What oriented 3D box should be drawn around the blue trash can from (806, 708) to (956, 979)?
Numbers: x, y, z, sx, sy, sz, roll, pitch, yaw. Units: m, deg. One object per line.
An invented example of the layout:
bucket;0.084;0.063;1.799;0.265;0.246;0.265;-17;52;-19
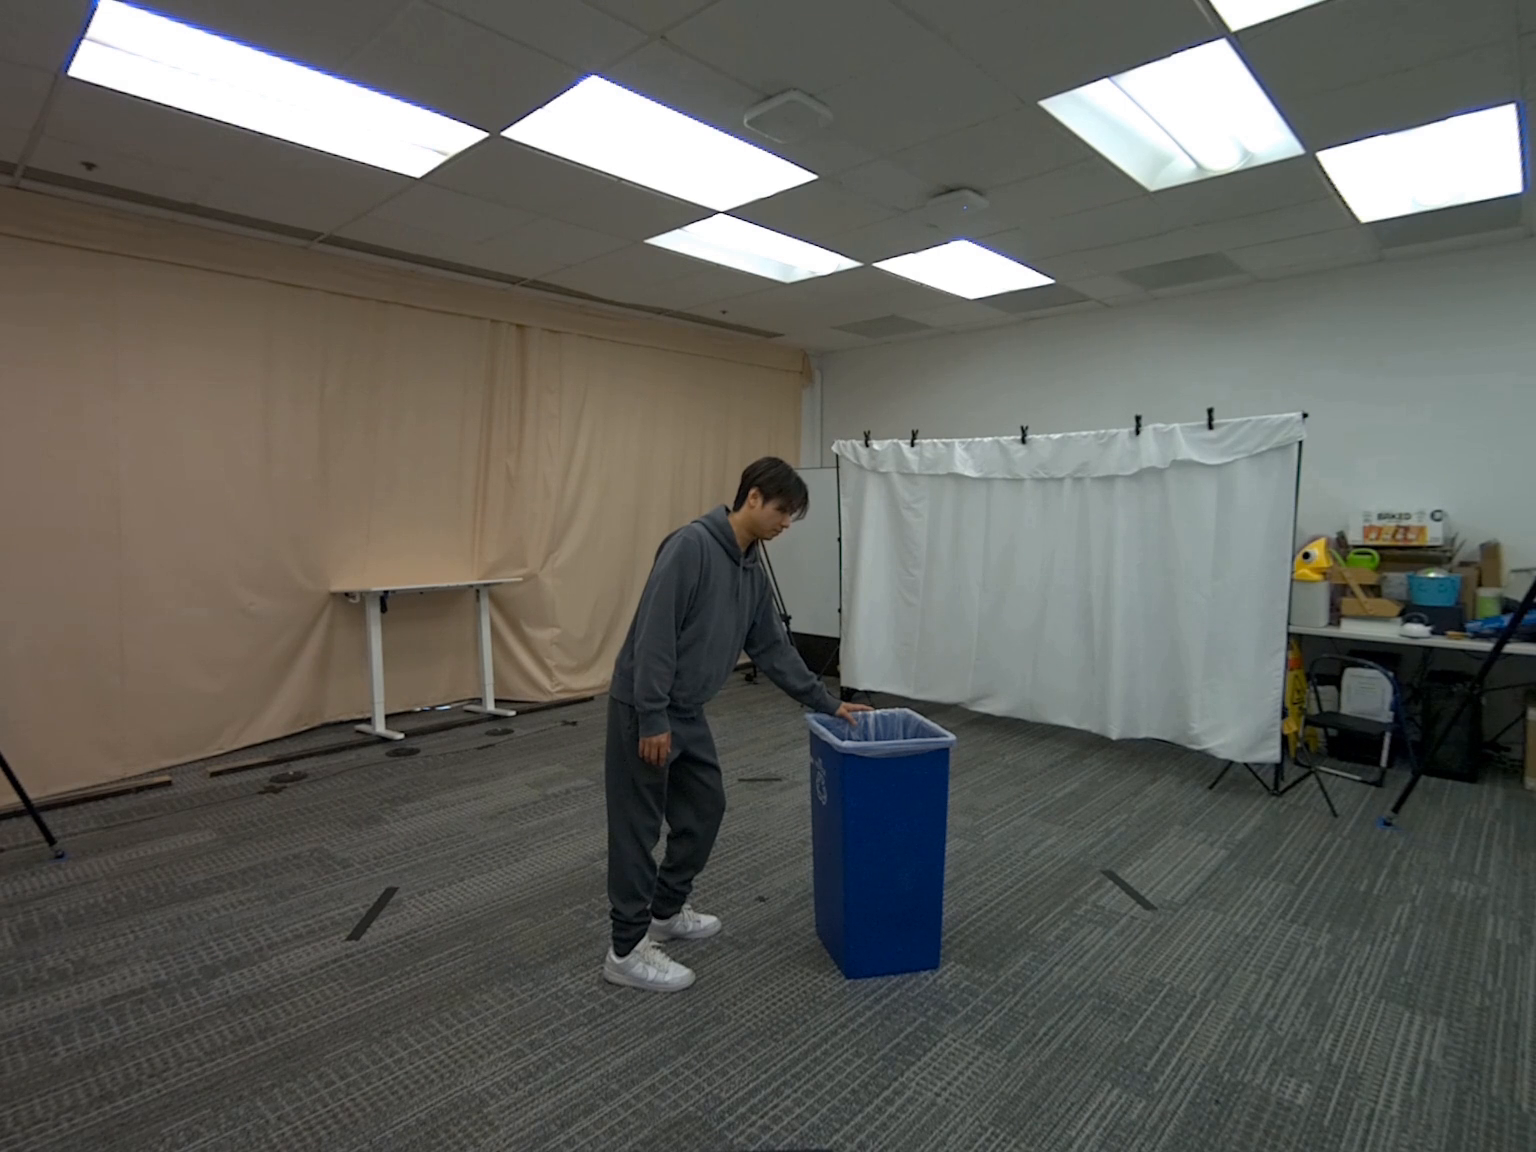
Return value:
blue trash can;0.348;0.823;2.618;0.373;0.712;0.379;0;3;-13
